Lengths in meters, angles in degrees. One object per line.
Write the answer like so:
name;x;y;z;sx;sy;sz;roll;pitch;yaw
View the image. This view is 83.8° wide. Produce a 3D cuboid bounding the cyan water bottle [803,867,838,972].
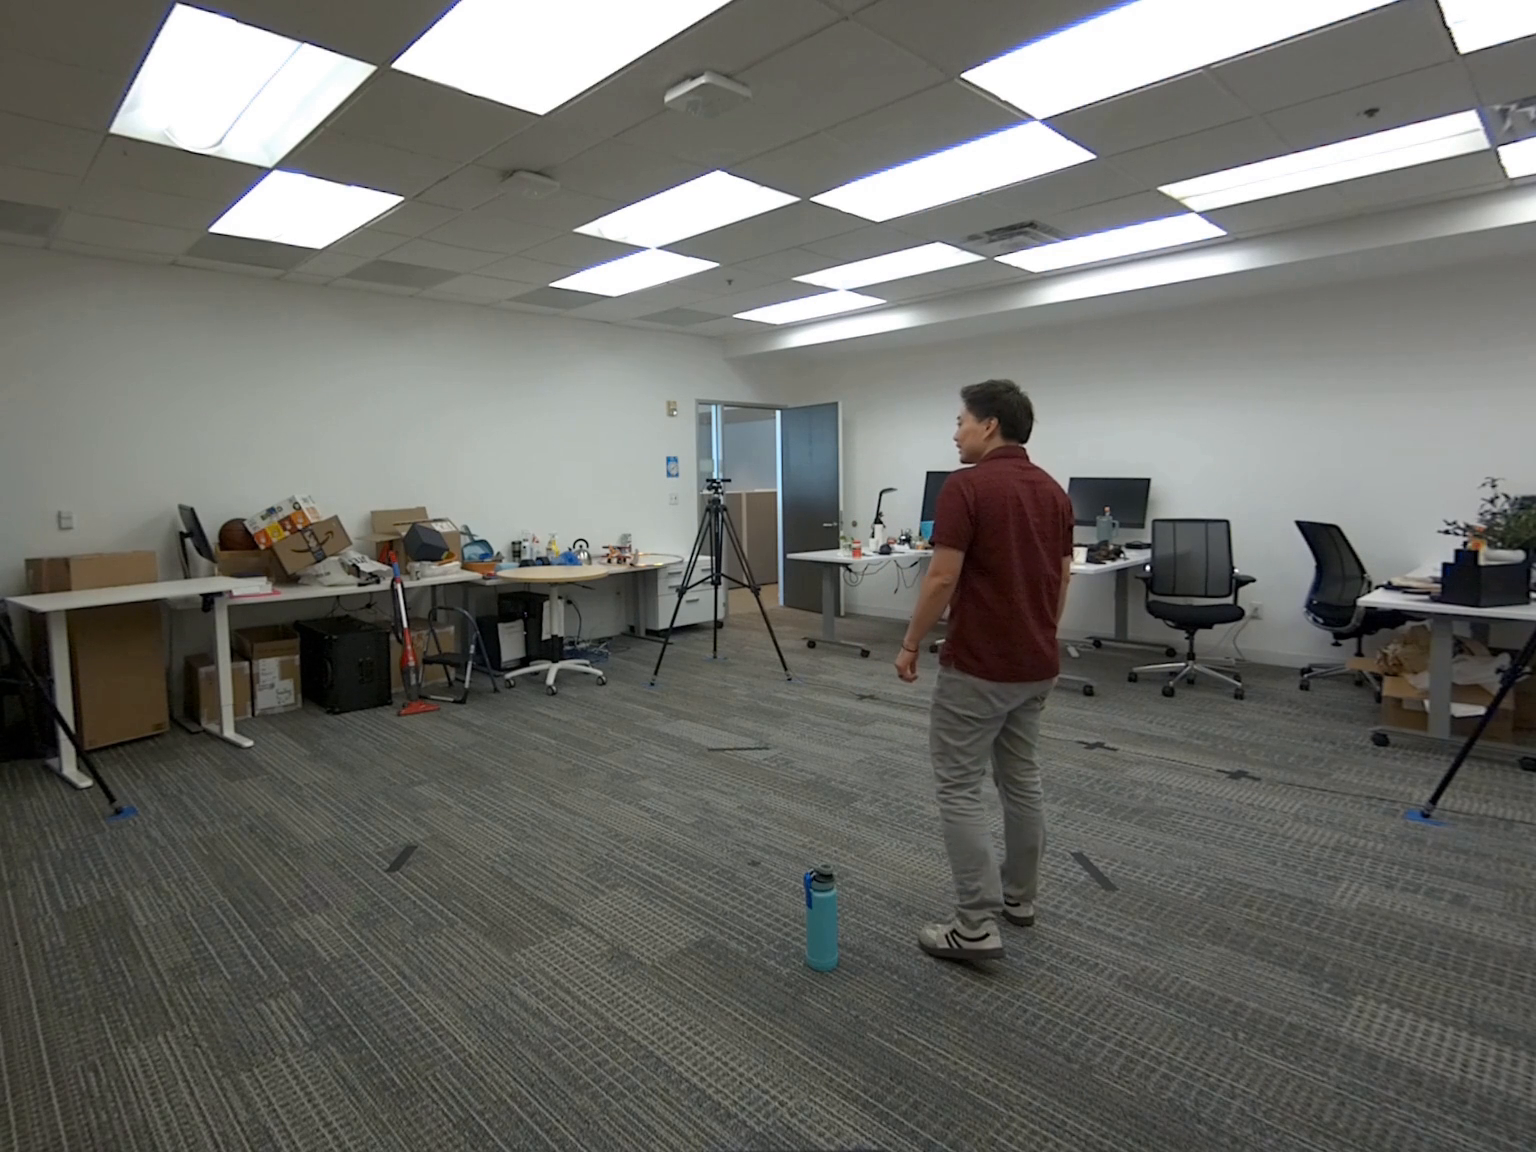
cyan water bottle;0.168;0.981;2.444;0.092;0.282;0.093;-2;4;-1
